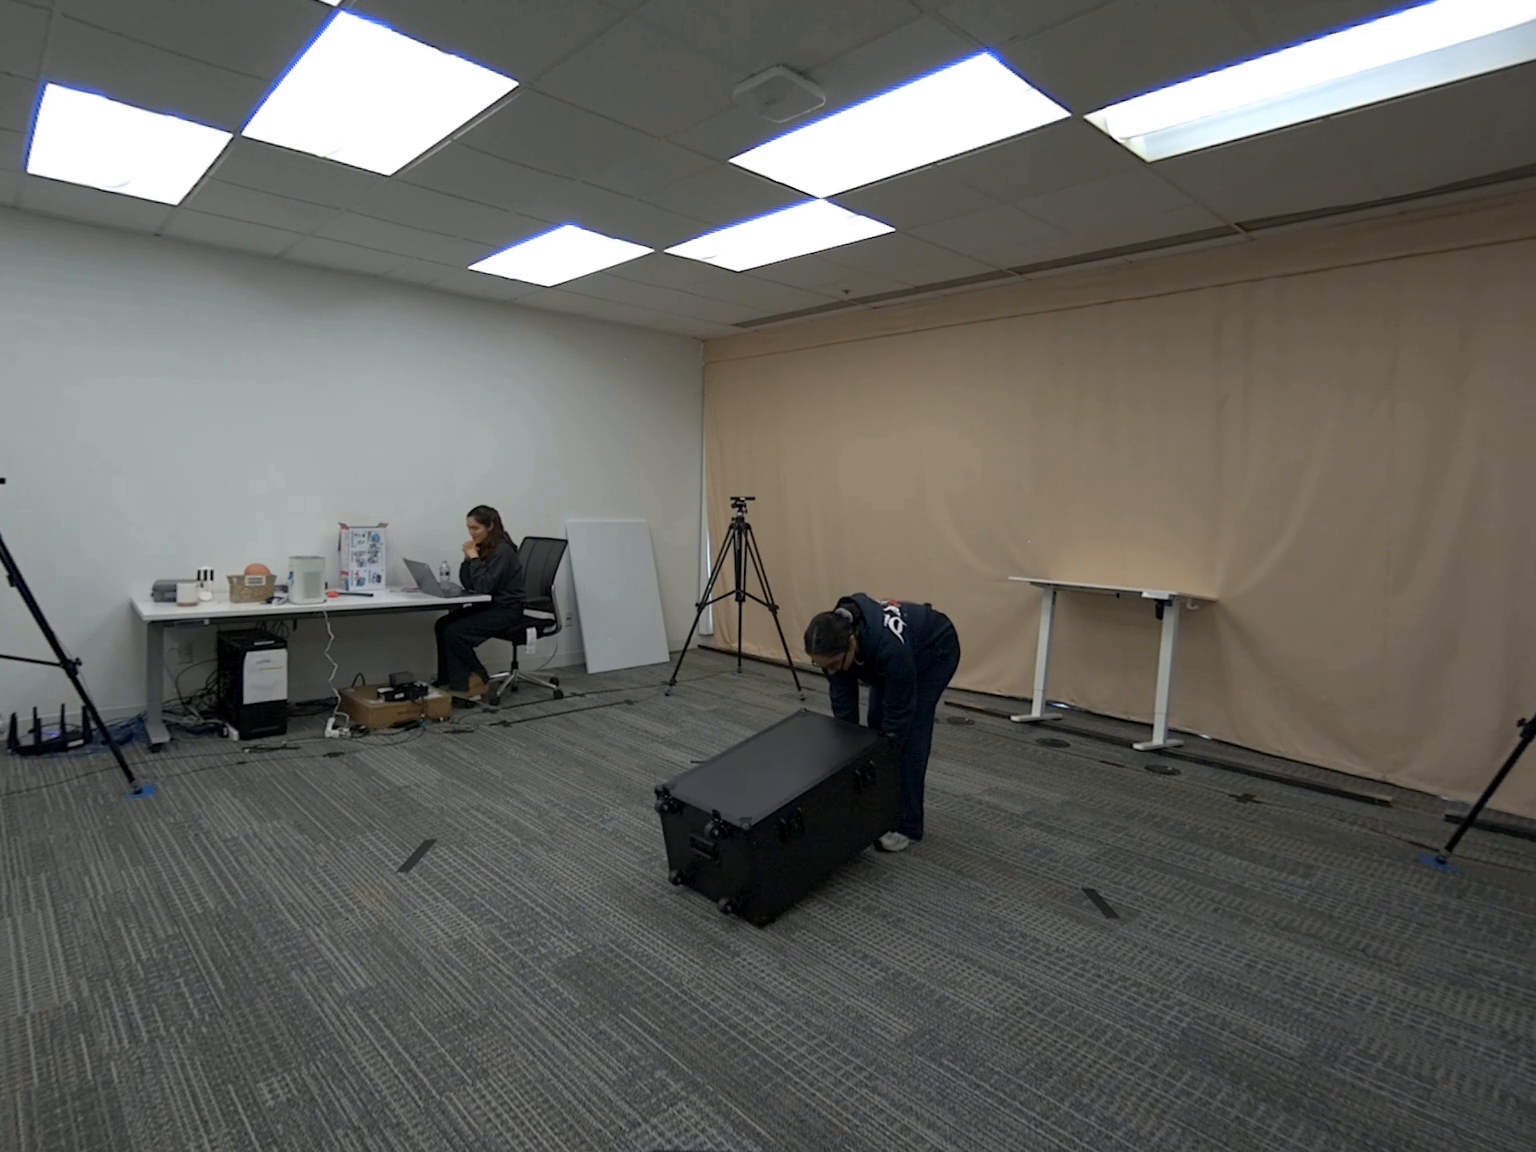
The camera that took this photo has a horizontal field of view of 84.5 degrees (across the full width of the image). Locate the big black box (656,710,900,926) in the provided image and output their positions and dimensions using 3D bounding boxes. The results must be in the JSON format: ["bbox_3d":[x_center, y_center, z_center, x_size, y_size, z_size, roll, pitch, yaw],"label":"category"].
[{"bbox_3d":[0.024,0.858,3.086,0.848,0.392,0.535,-20,18,-41],"label":"big black box"}]
